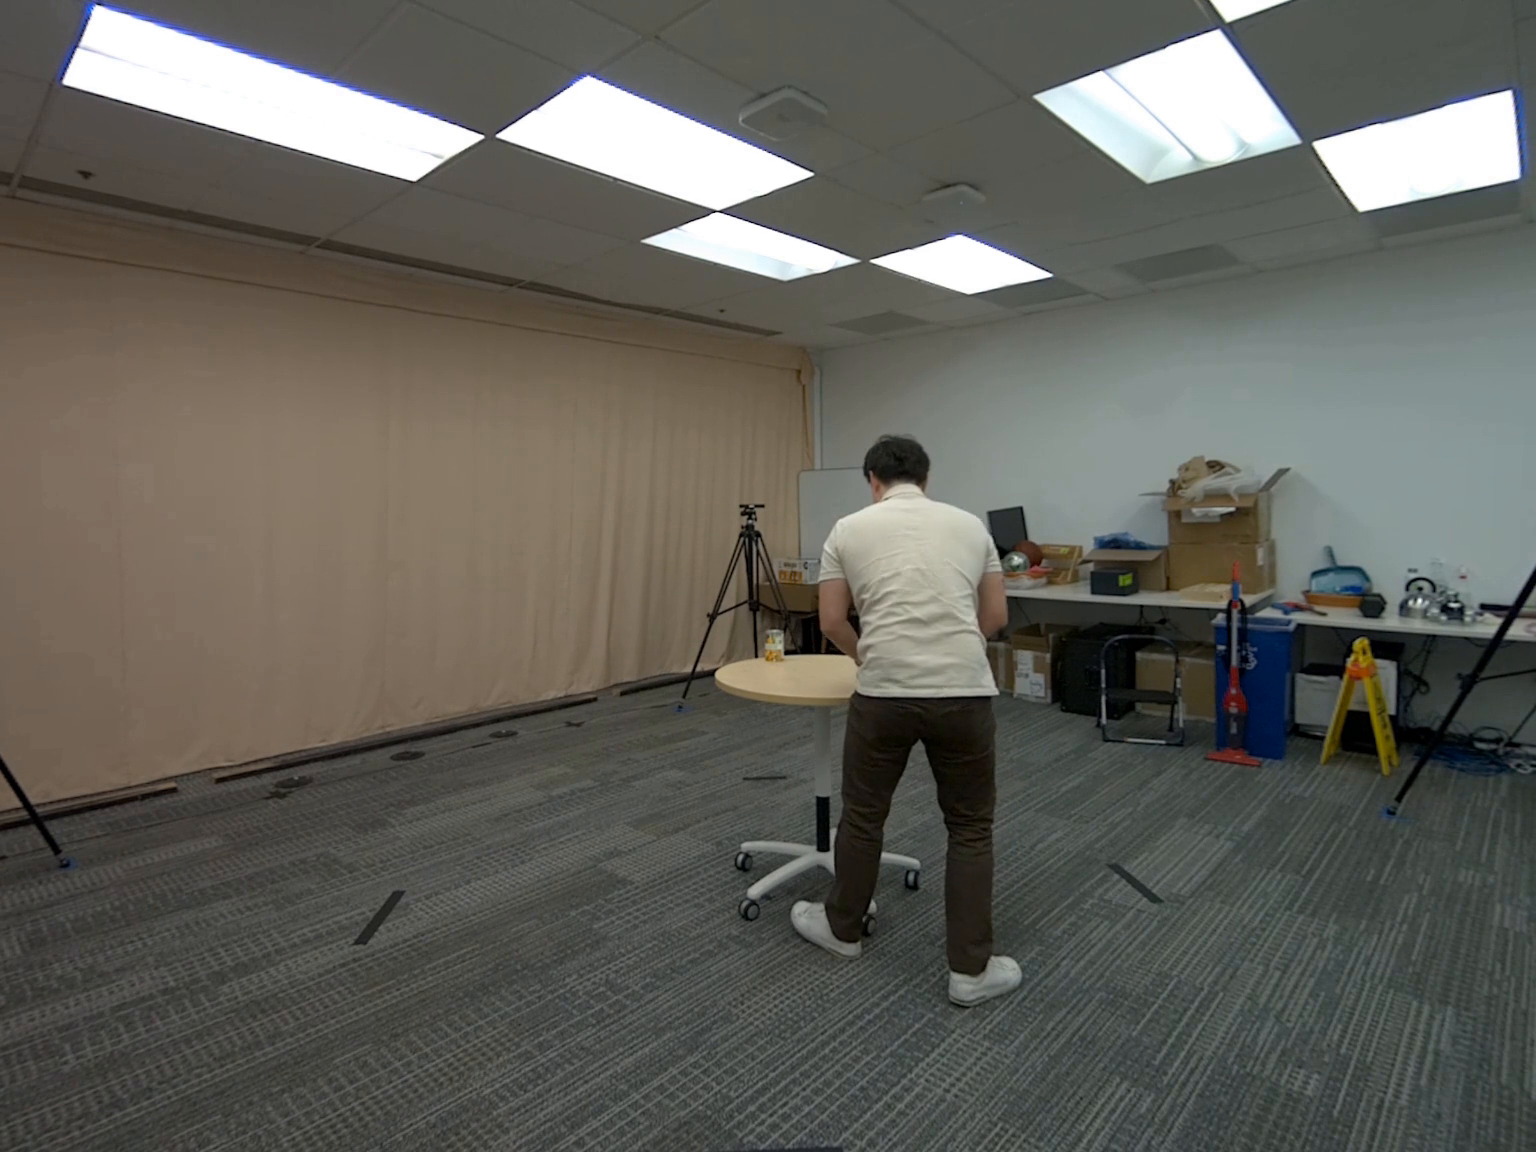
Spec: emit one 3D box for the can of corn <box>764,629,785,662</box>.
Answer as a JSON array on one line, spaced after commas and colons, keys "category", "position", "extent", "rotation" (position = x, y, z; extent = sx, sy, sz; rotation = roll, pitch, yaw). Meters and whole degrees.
[{"category": "can of corn", "position": [0.025, 0.274, 3.279], "extent": [0.074, 0.111, 0.074], "rotation": [-2, 2, -2]}]
